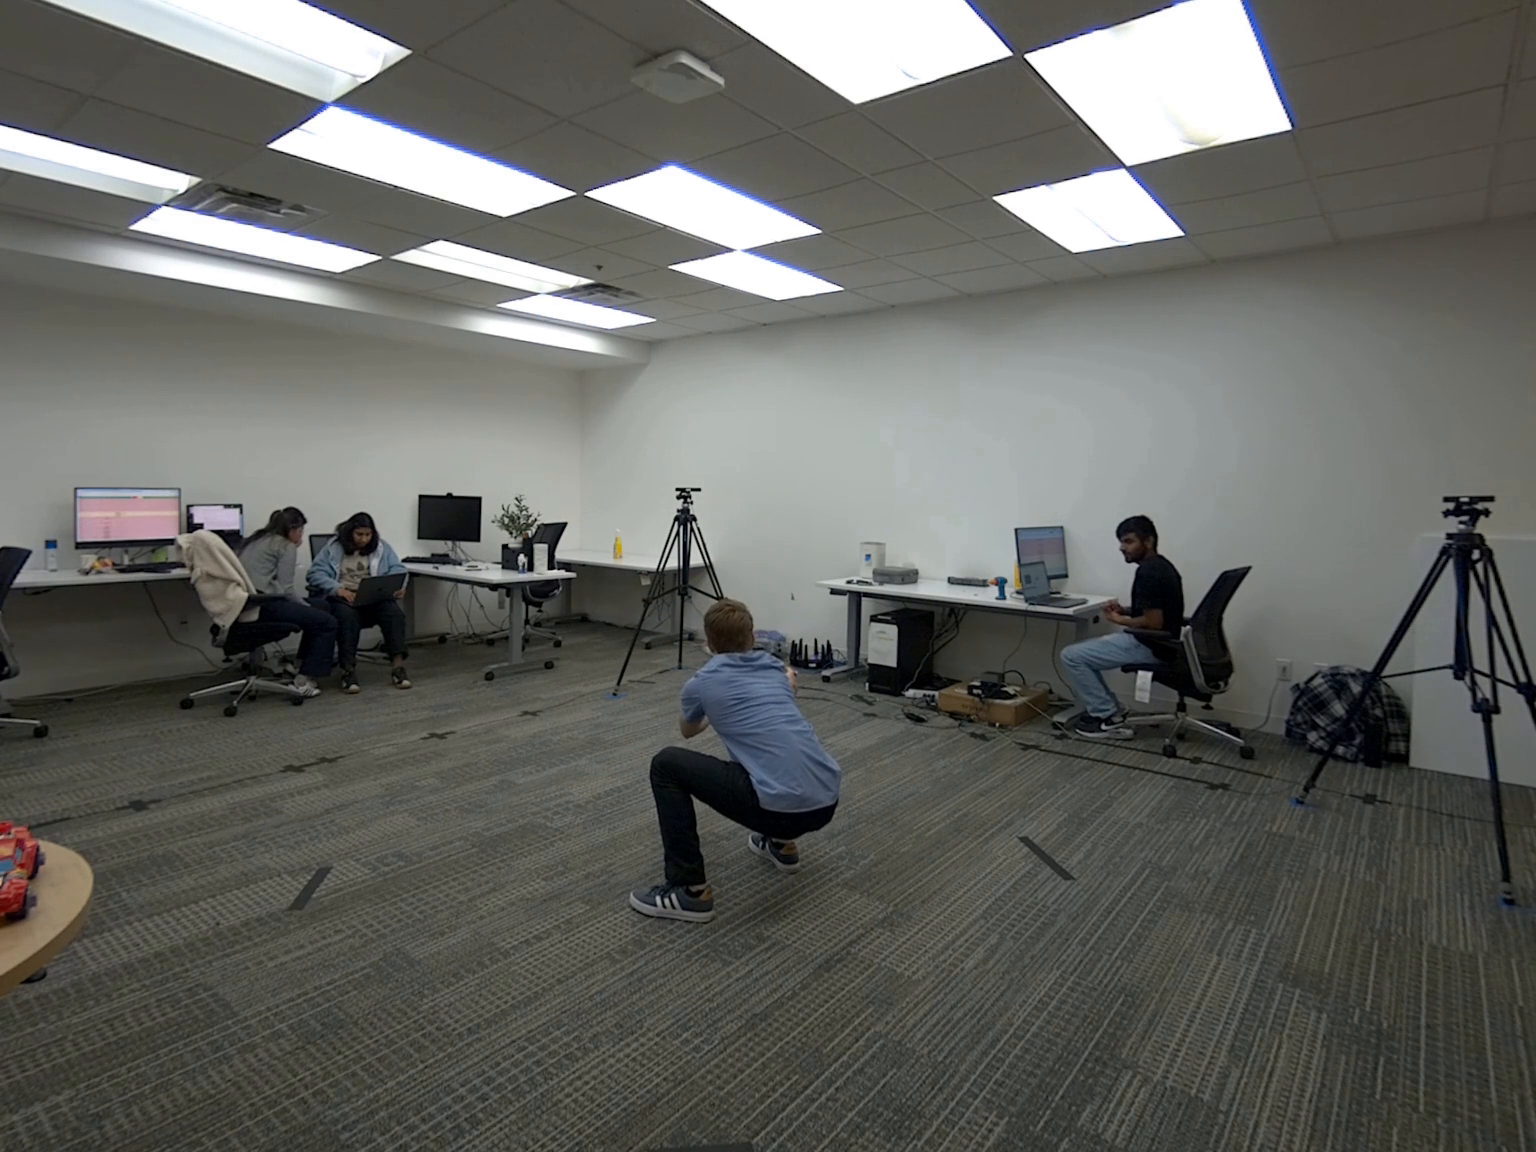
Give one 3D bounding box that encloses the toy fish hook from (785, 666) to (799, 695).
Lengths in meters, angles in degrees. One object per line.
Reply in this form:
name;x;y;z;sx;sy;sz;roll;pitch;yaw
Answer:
toy fish hook;-0.114;0.457;3.720;0.493;0.048;0.233;-8;17;-37
